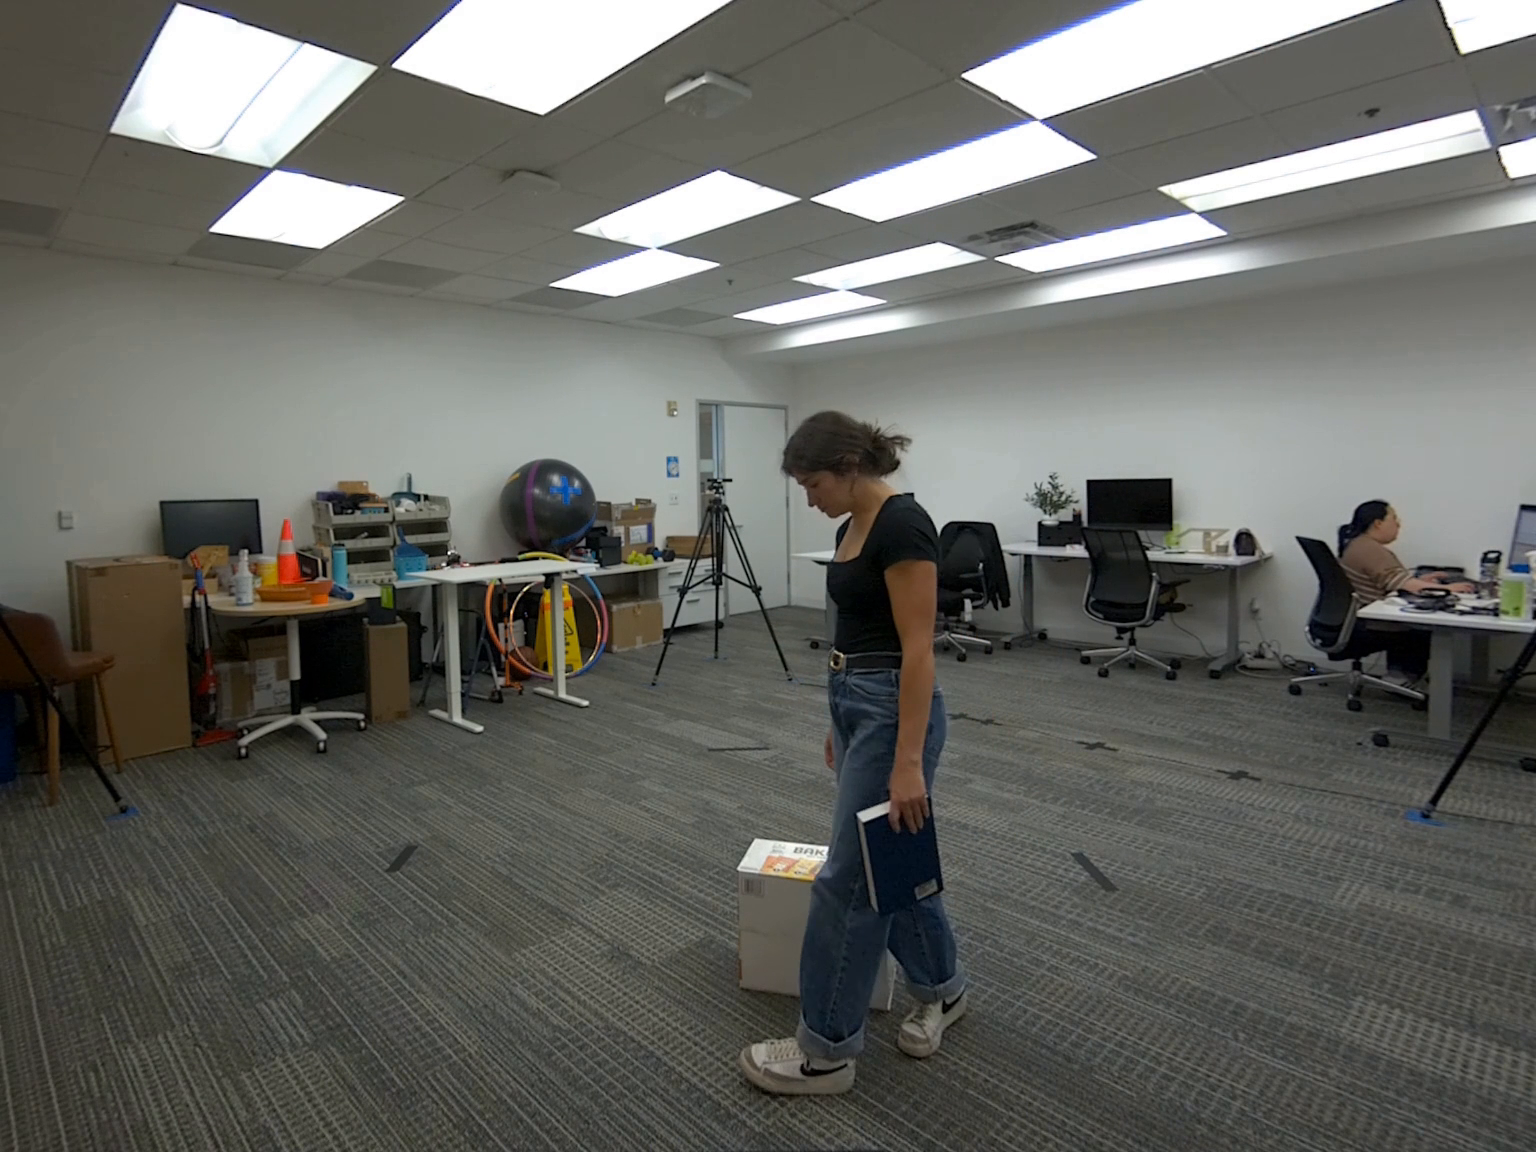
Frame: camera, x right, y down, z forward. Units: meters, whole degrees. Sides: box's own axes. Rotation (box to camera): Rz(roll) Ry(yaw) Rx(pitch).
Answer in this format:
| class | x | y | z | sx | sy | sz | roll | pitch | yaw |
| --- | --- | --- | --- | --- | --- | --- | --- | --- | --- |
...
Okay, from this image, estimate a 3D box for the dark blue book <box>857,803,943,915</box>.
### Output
| class | x | y | z | sx | sy | sz | roll | pitch | yaw |
| --- | --- | --- | --- | --- | --- | --- | --- | --- | --- |
| dark blue book | 0.286 | 0.592 | 1.815 | 0.162 | 0.241 | 0.046 | -15 | 18 | -15 |
